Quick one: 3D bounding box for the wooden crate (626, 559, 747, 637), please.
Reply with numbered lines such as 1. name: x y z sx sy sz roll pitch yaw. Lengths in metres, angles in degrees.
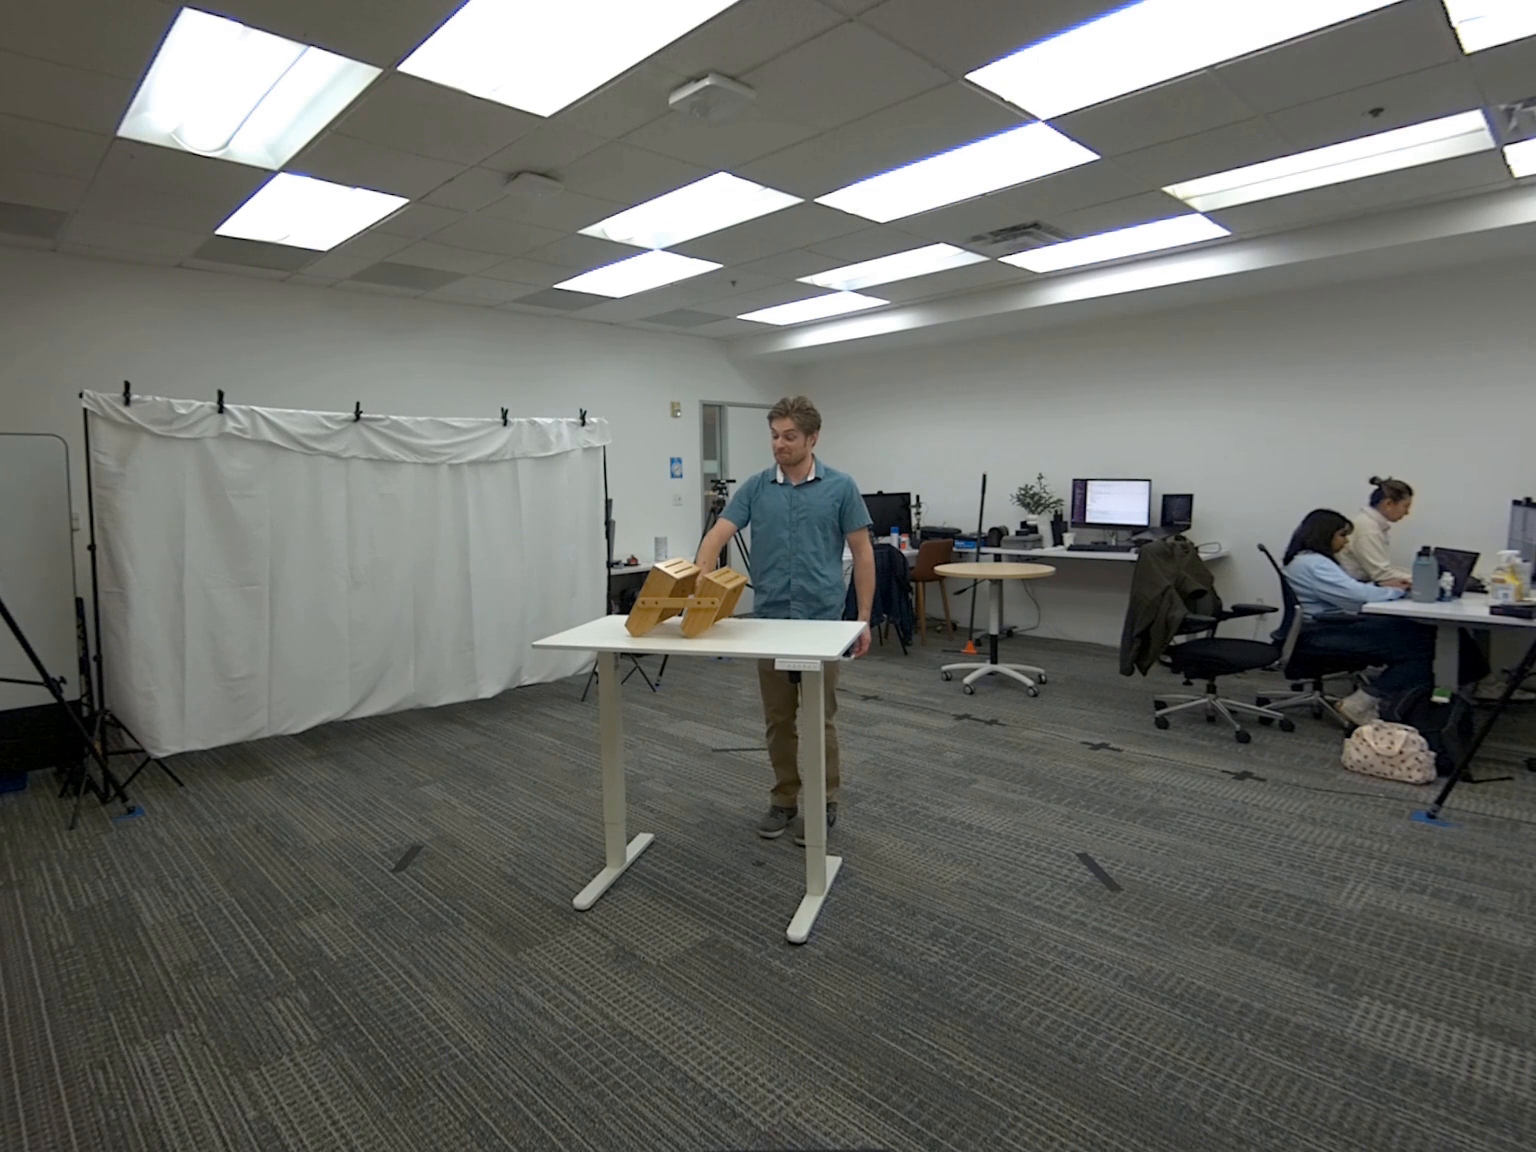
1. wooden crate: -0.267 0.096 2.932 0.277 0.301 0.321 26 10 9
